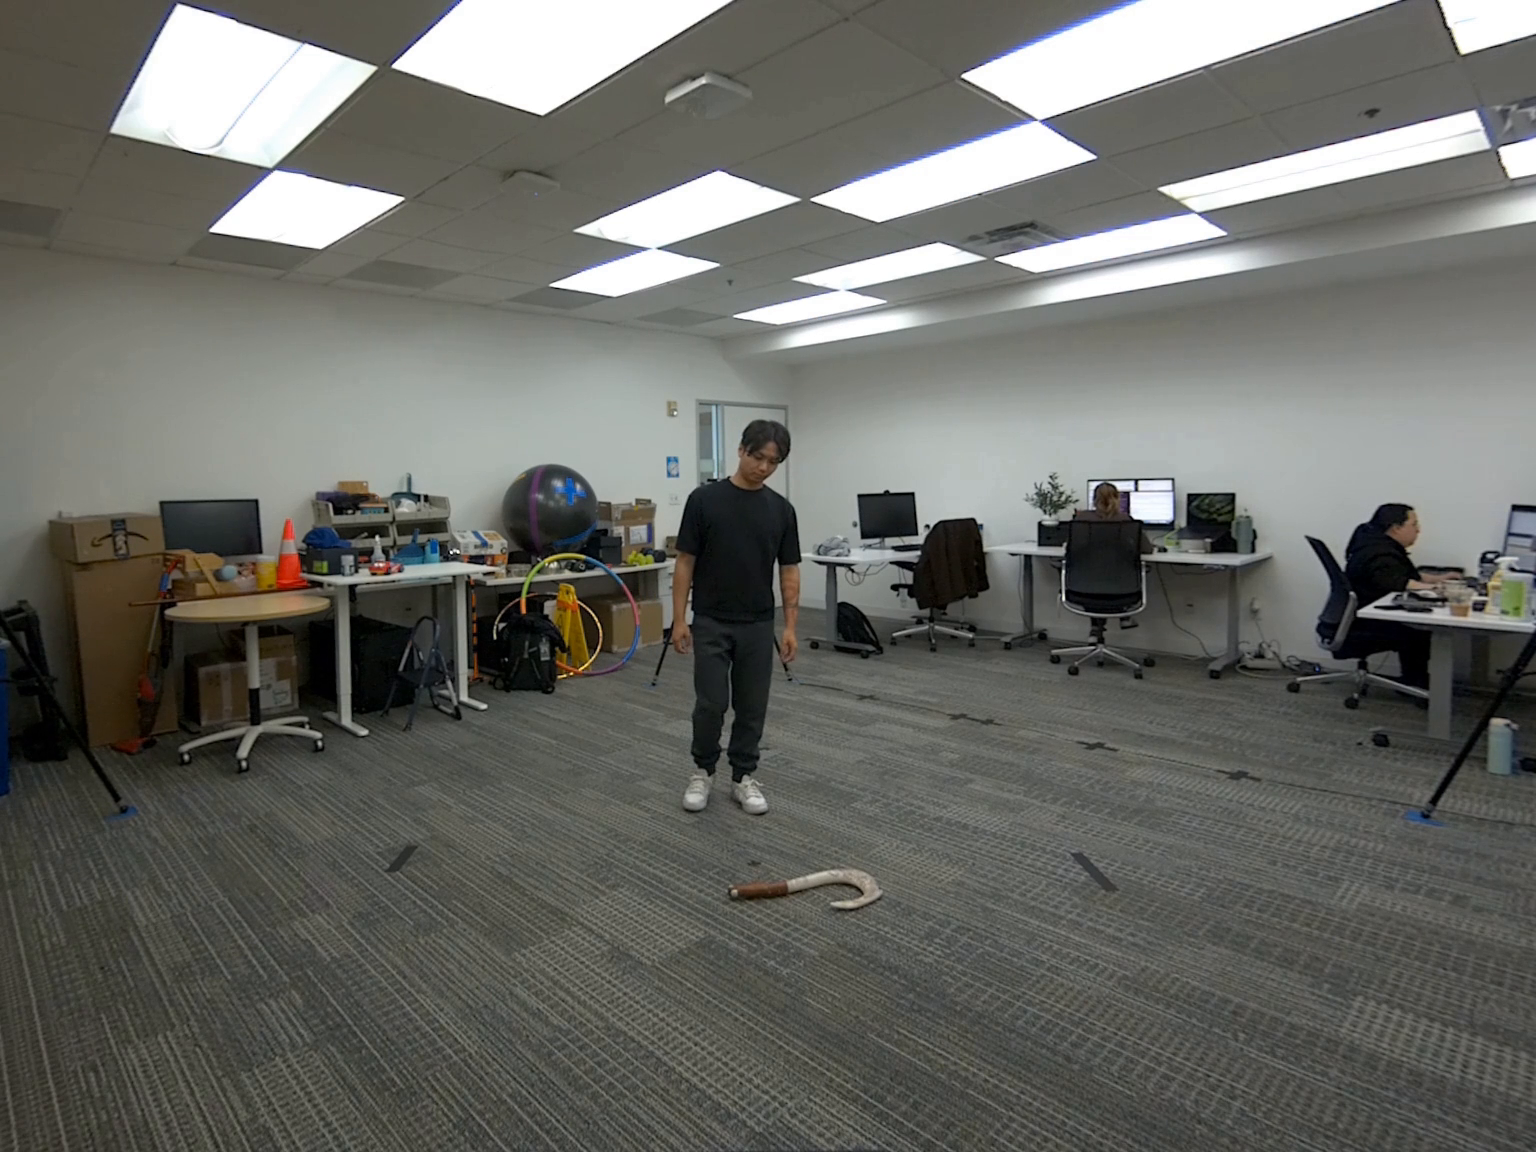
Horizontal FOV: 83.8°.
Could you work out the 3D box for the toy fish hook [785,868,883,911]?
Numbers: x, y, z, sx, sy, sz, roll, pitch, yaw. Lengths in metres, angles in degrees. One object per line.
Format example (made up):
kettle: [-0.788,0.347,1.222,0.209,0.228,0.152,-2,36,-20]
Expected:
toy fish hook: [0.127,1.048,2.836,0.501,0.048,0.228,-2,5,-11]
